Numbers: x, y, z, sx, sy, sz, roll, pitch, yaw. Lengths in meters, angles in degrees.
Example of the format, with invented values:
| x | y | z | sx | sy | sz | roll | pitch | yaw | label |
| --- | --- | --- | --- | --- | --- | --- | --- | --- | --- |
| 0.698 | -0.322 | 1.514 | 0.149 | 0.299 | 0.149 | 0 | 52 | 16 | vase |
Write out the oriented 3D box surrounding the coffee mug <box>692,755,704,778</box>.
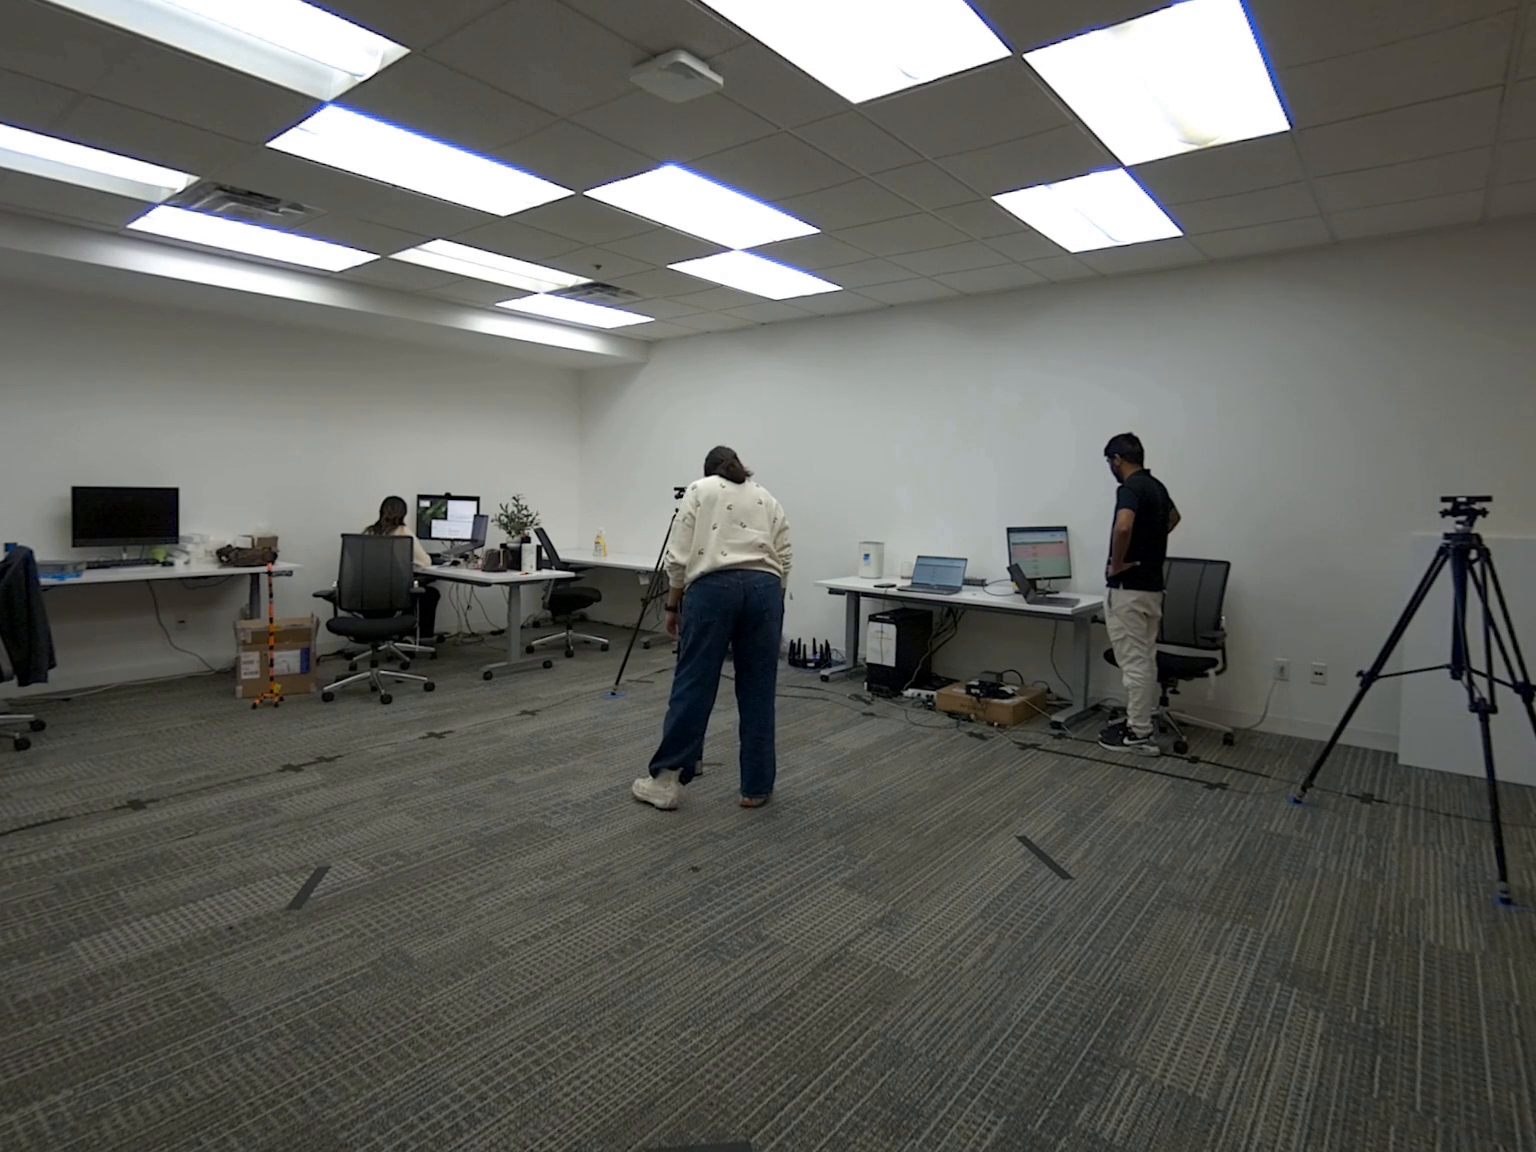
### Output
| x | y | z | sx | sy | sz | roll | pitch | yaw | label |
| --- | --- | --- | --- | --- | --- | --- | --- | --- | --- |
| -0.371 | 0.860 | 4.127 | 0.091 | 0.202 | 0.118 | 8 | 4 | 32 | coffee mug |
